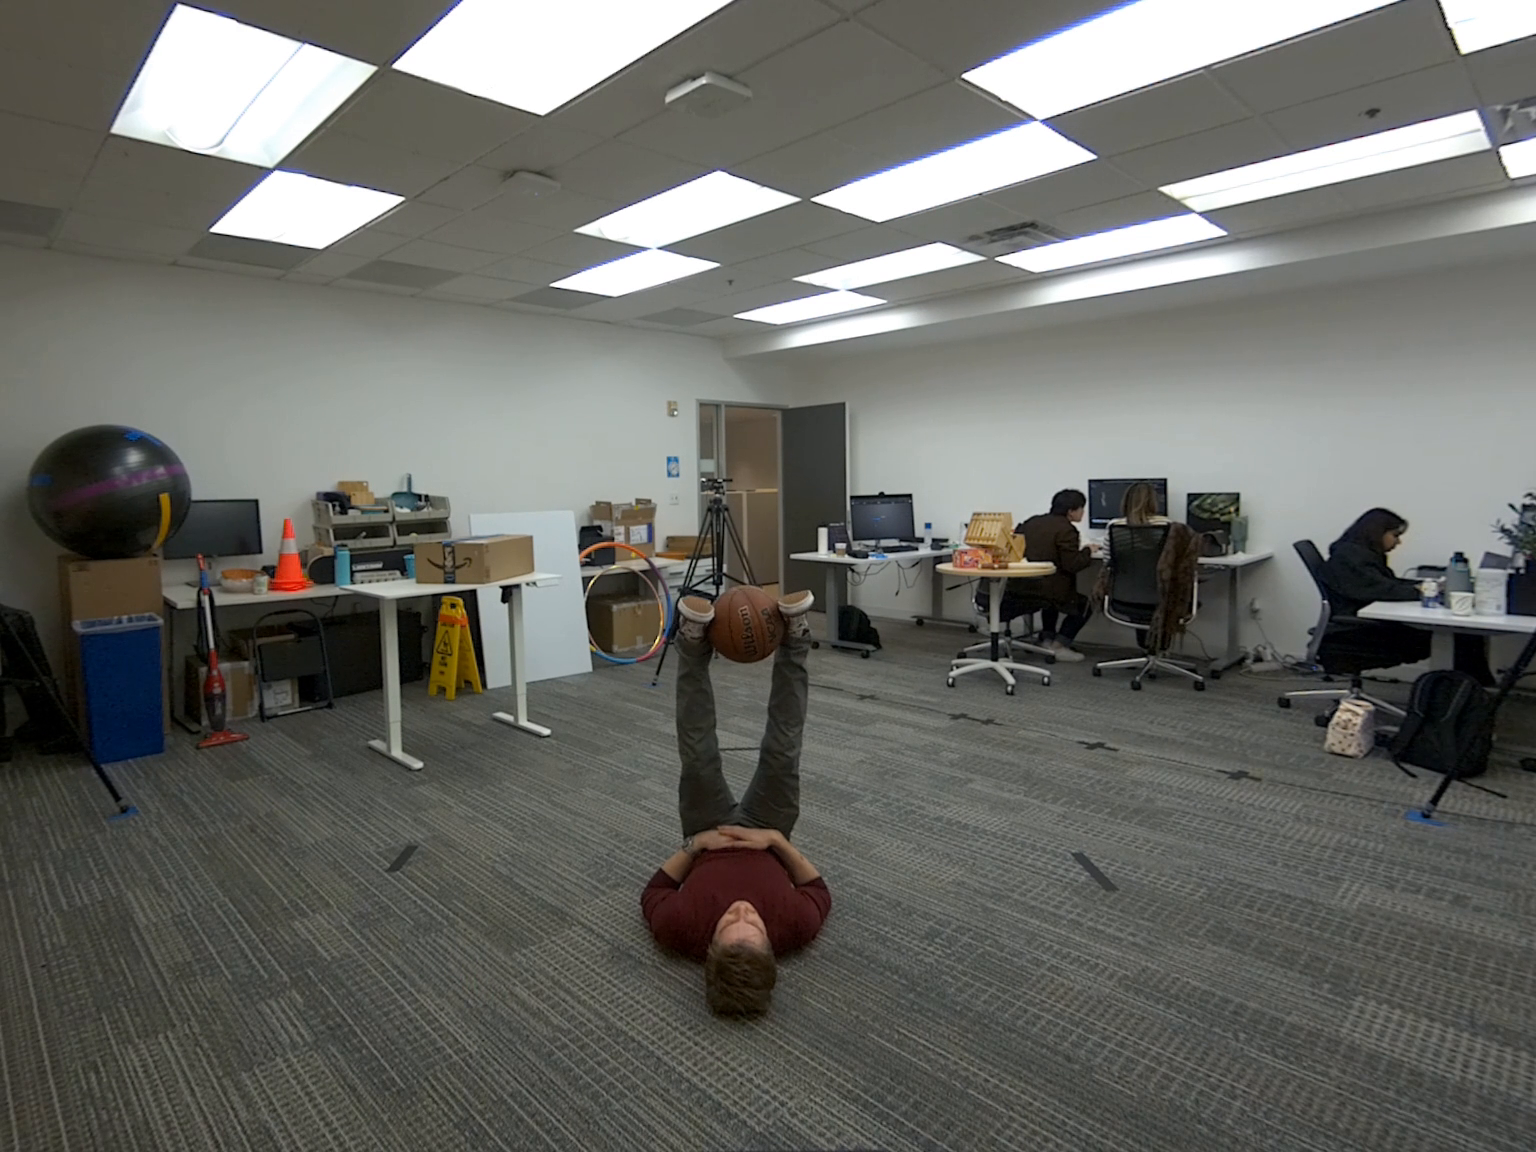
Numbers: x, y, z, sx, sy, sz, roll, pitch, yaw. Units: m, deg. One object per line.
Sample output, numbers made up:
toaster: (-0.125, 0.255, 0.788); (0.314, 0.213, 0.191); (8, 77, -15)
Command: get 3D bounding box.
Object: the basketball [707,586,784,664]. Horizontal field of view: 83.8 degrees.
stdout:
basketball: (-0.065, 0.147, 2.627); (0.236, 0.236, 0.236); (0, 1, -2)
